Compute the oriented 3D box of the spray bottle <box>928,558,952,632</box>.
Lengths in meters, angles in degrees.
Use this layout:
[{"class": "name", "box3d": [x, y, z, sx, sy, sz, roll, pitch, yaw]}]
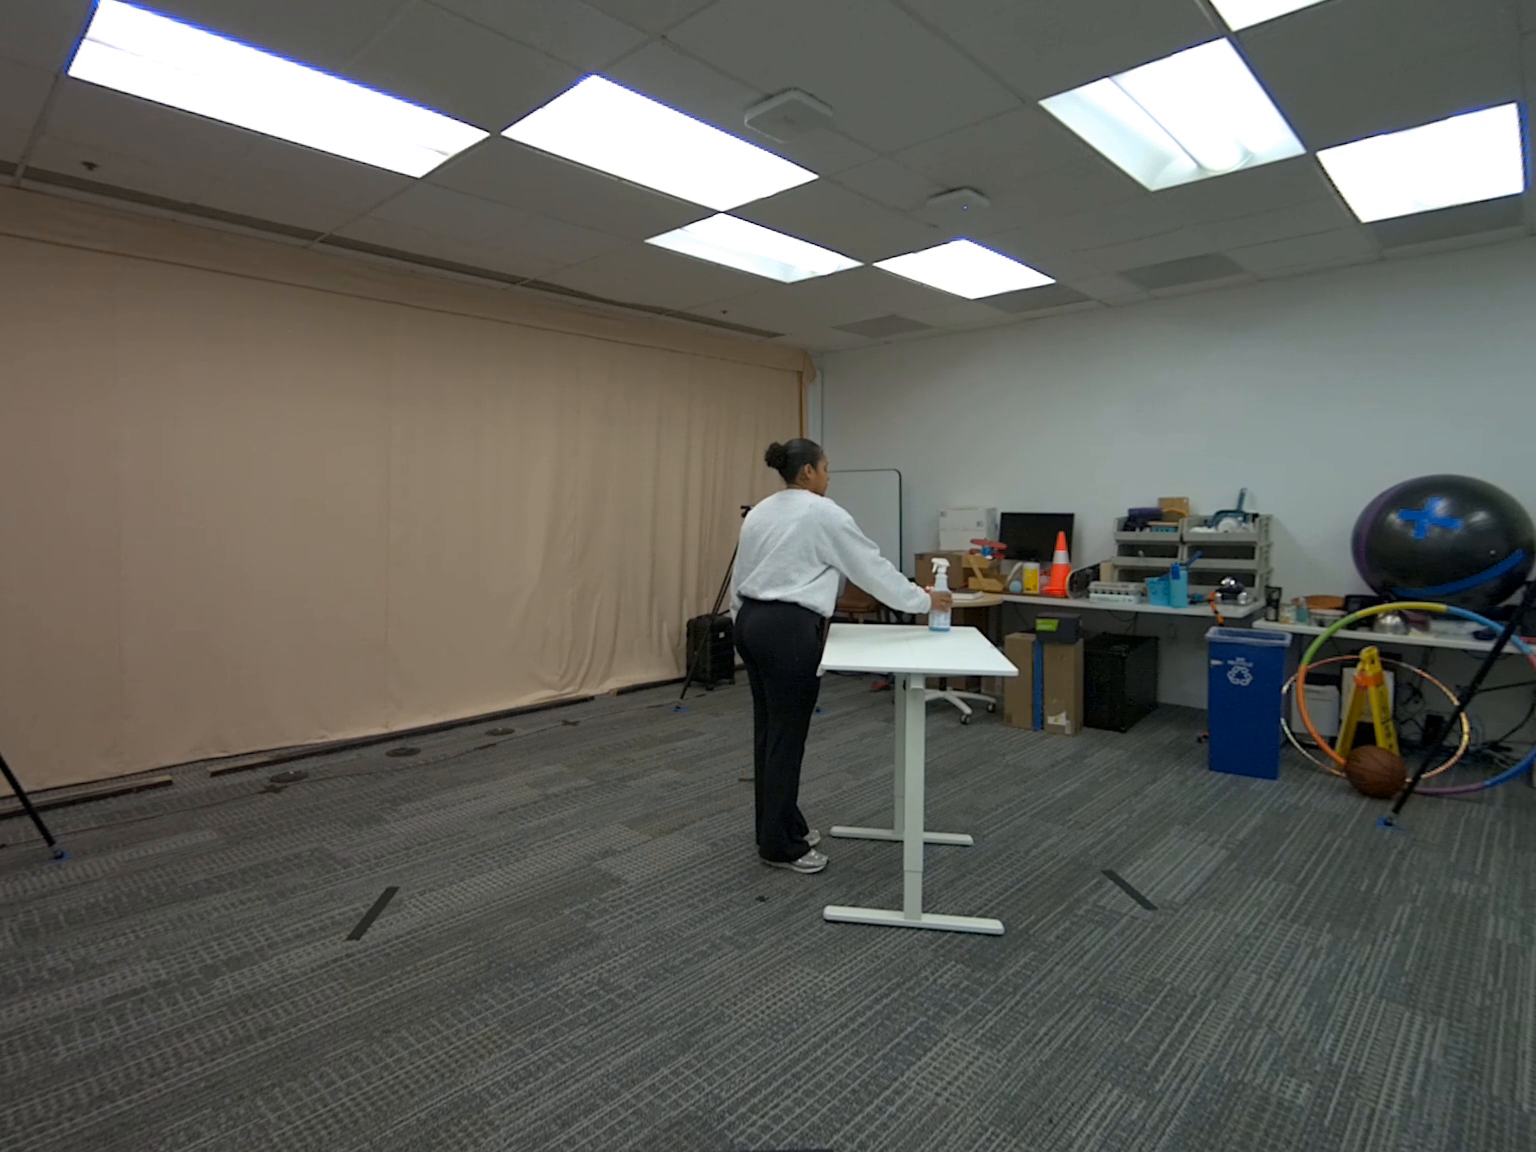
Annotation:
[{"class": "spray bottle", "box3d": [0.714, 0.072, 3.448, 0.089, 0.296, 0.088, 0, 4, -8]}]
